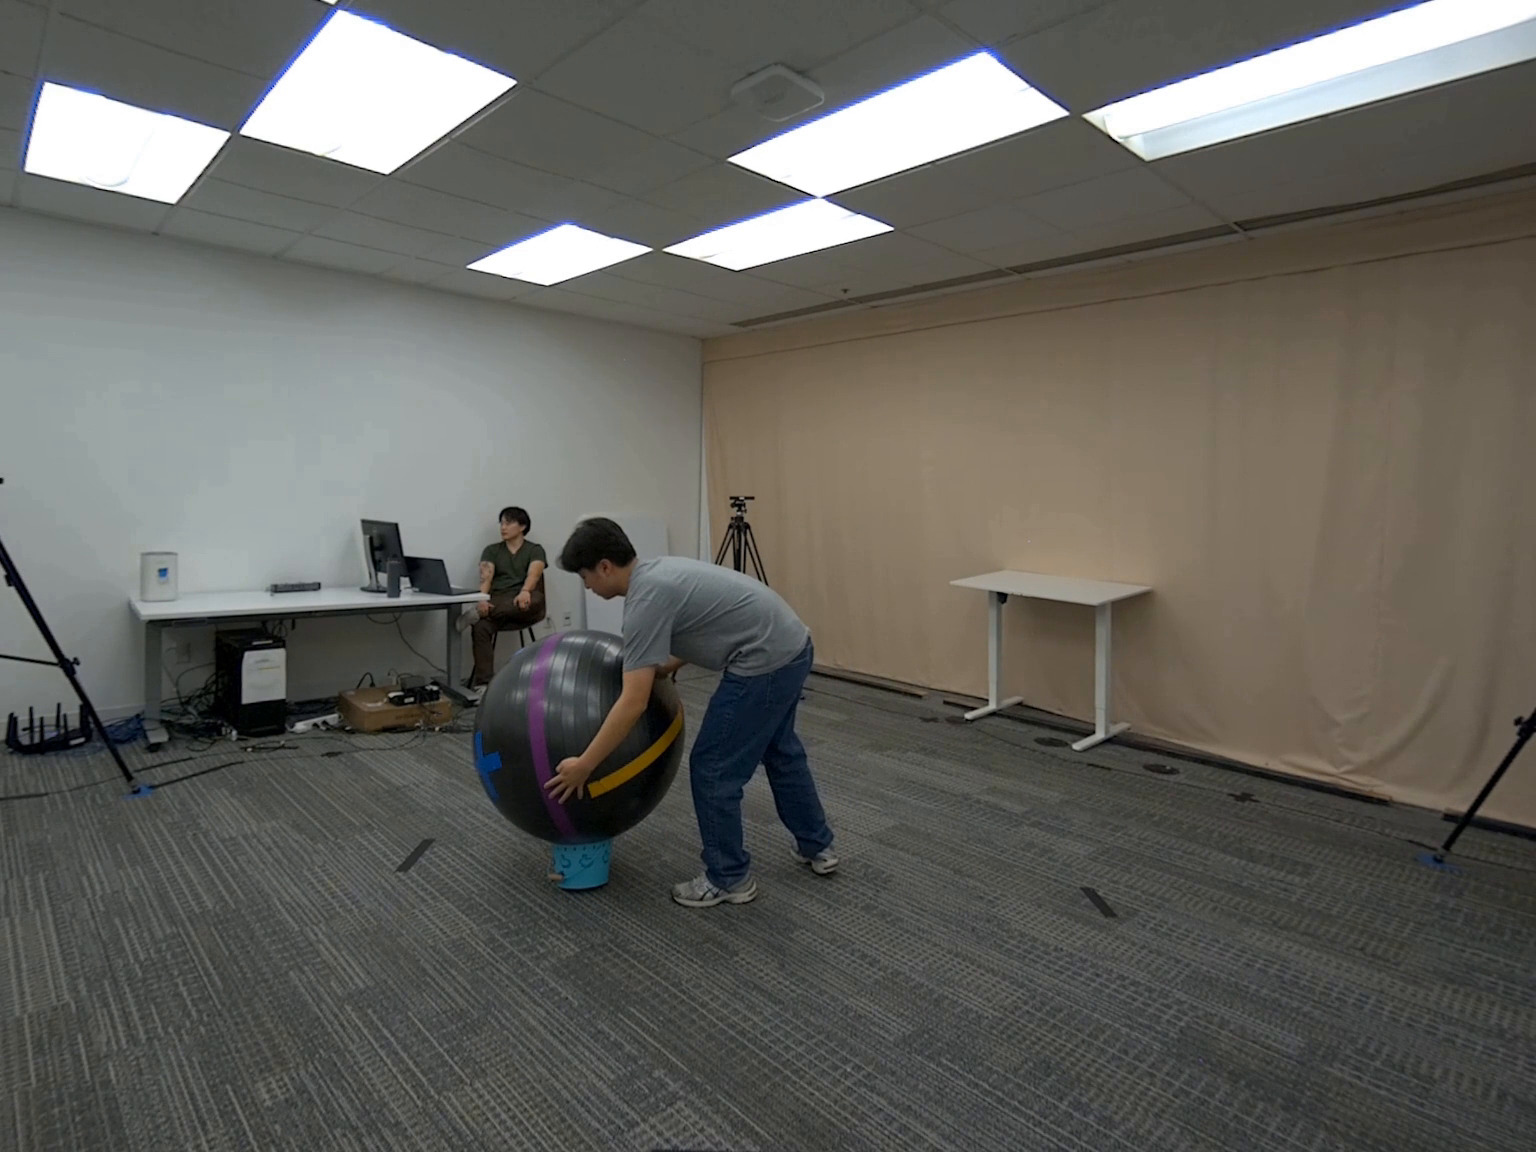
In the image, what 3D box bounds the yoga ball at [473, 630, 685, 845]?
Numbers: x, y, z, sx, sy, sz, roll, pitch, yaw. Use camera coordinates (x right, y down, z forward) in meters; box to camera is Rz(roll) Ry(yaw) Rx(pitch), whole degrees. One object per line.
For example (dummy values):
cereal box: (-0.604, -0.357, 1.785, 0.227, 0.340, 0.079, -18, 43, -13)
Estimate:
yoga ball: (-0.688, 0.583, 3.067, 0.757, 0.756, 0.761, 1, 4, -1)
